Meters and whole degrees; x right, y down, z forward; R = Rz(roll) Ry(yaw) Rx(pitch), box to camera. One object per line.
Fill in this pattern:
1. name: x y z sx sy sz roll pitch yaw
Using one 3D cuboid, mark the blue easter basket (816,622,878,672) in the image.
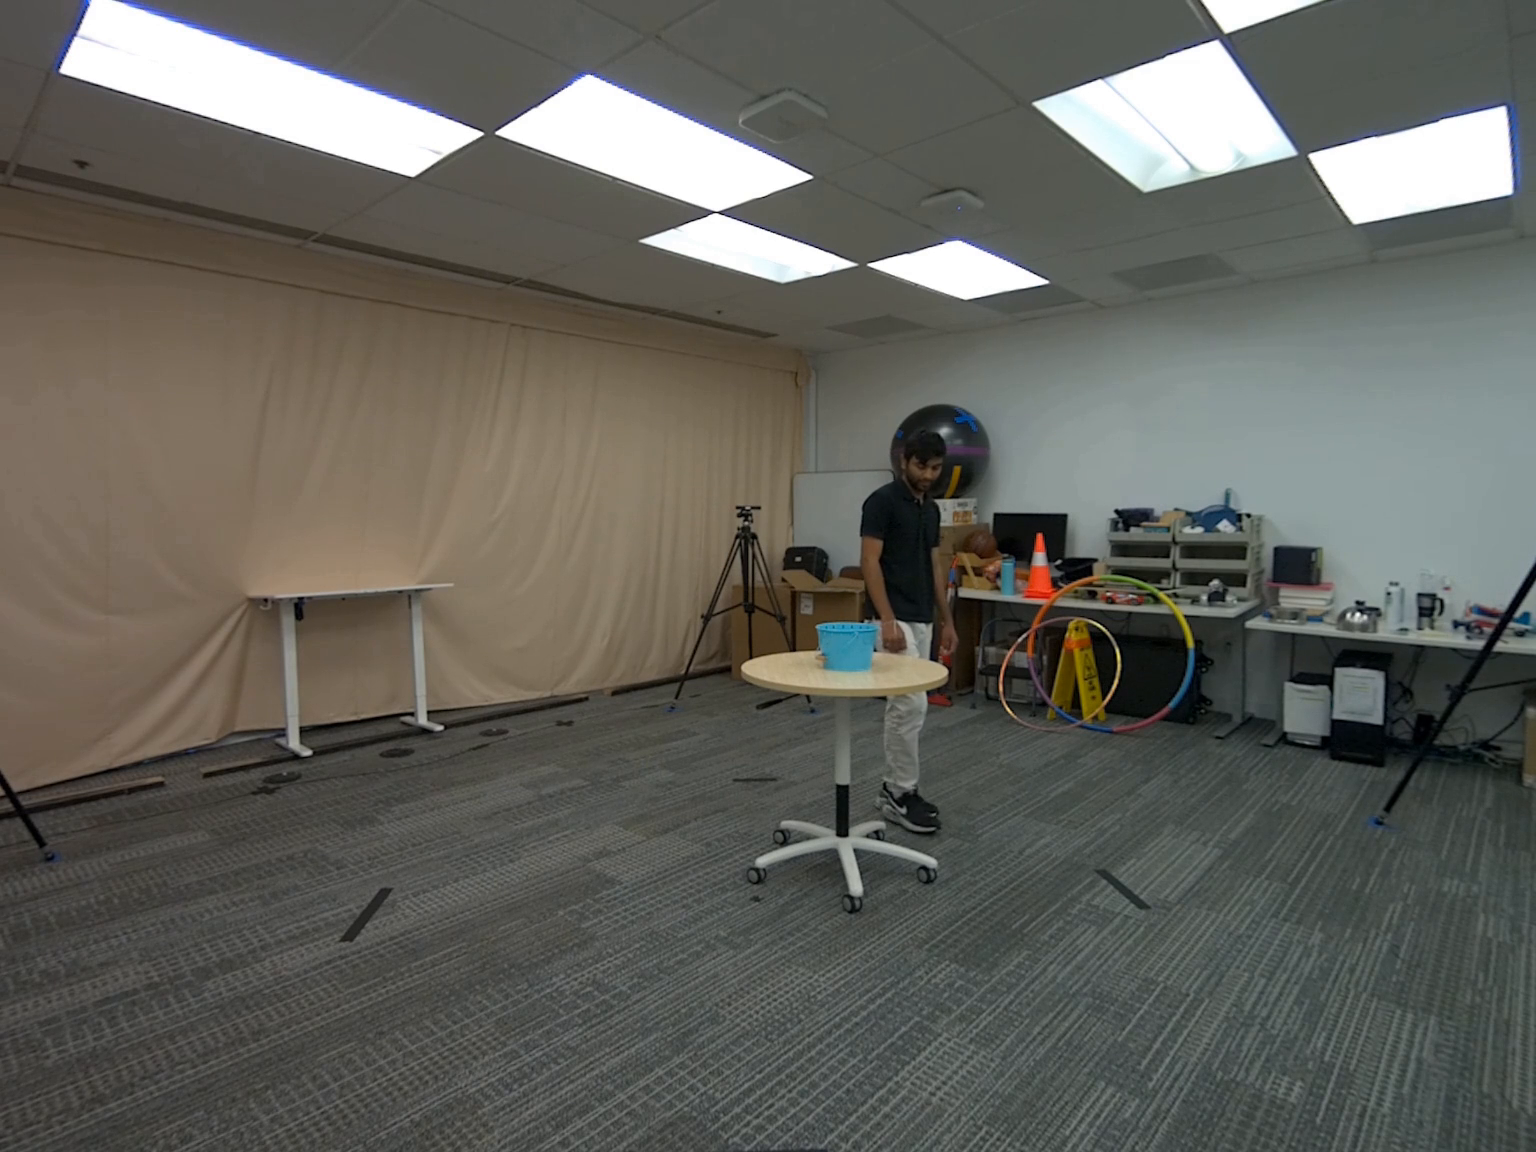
1. blue easter basket: 0.308 0.273 3.184 0.243 0.156 0.244 1 2 -2
